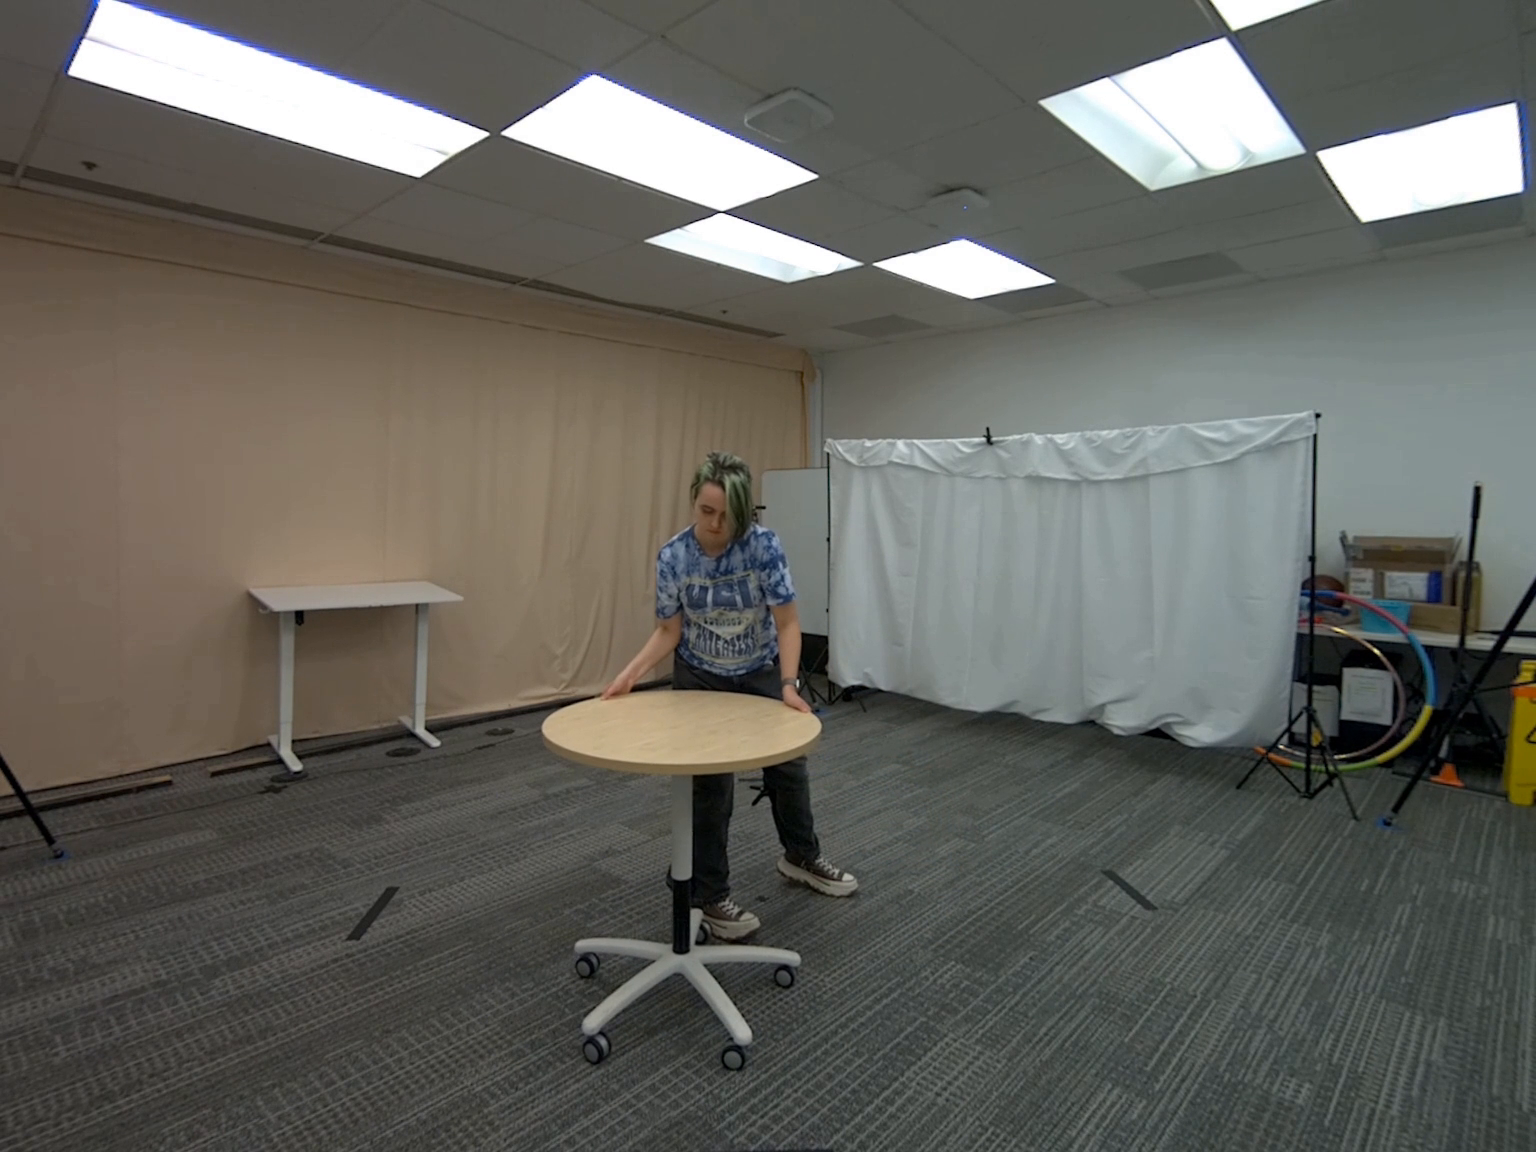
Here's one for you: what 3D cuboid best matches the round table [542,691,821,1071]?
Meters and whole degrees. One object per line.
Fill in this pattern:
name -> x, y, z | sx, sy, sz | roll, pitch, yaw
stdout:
round table -> -0.248, 0.801, 2.351 | 0.763, 0.792, 0.767 | 0, 4, -2
